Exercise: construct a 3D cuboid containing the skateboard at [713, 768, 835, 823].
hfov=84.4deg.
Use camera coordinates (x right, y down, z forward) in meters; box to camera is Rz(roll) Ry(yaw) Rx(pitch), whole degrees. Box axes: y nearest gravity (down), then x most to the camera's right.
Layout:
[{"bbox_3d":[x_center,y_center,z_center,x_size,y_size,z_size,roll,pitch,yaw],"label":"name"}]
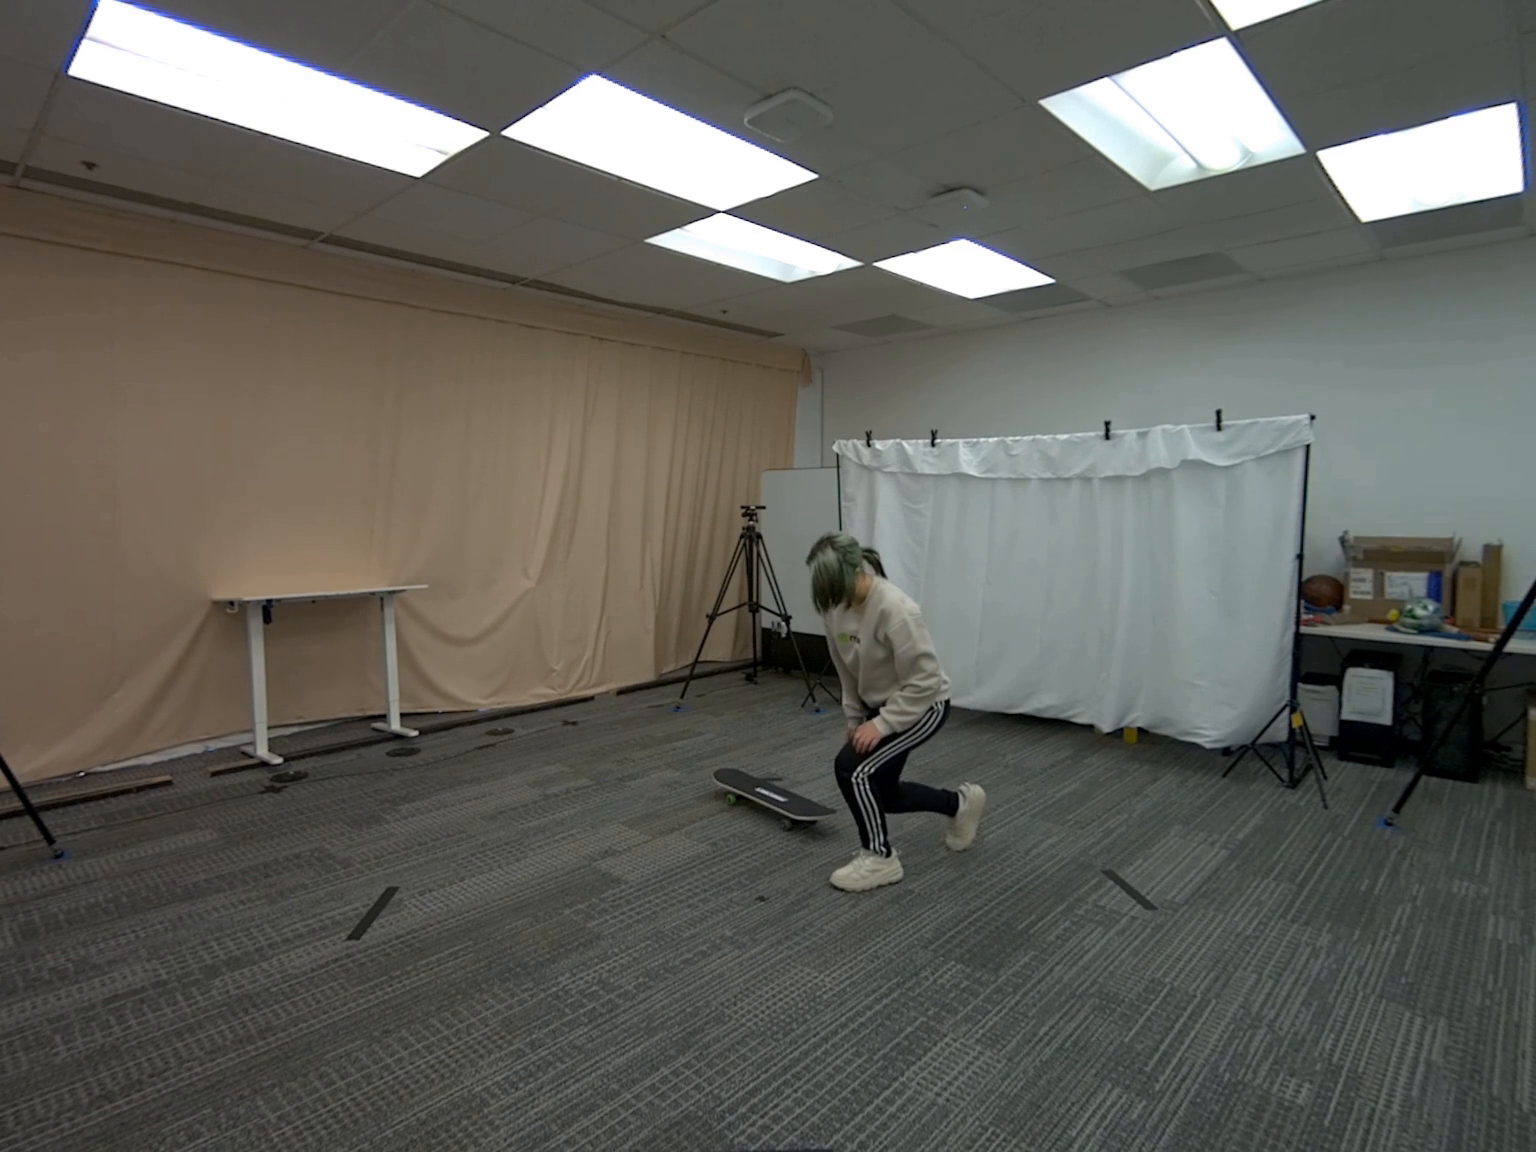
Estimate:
[{"bbox_3d":[0.016,1.022,3.817,0.188,0.110,0.811,-3,5,-37],"label":"skateboard"}]
